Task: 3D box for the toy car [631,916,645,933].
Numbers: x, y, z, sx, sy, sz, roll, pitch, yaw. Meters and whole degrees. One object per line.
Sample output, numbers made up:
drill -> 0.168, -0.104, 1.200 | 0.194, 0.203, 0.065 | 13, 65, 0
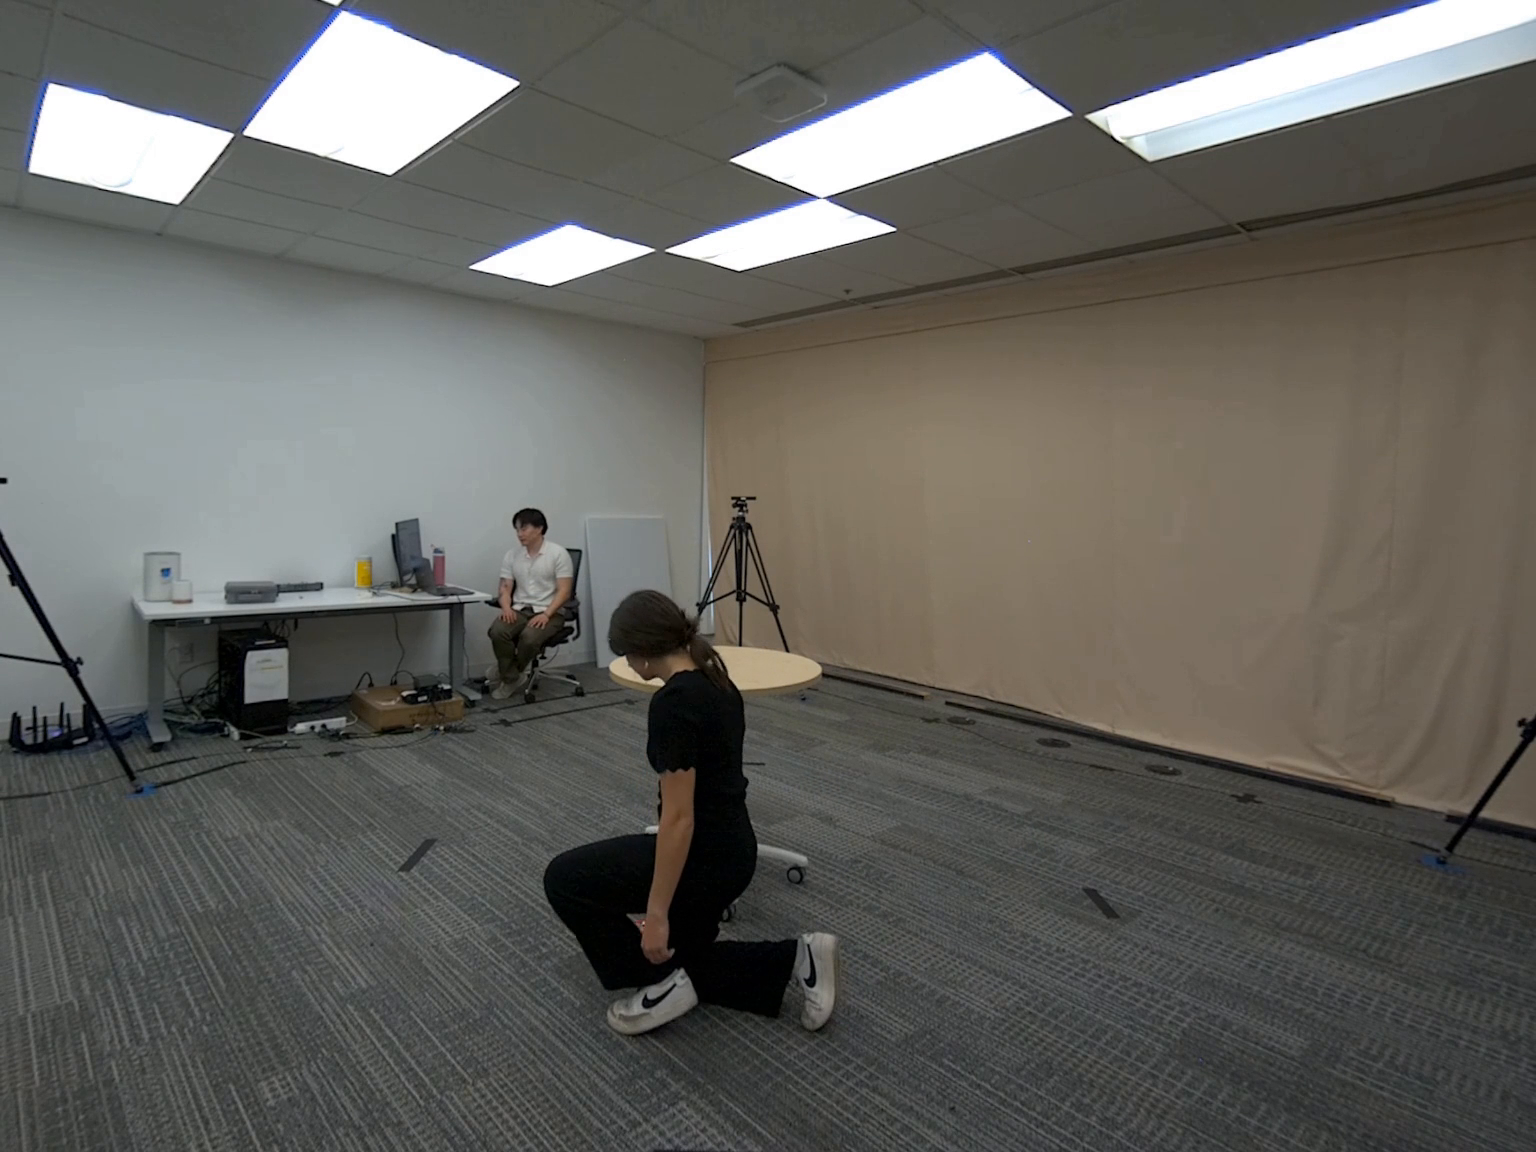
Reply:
toy car -> -0.368, 1.125, 2.550 | 0.129, 0.083, 0.255 | 1, -6, -8
